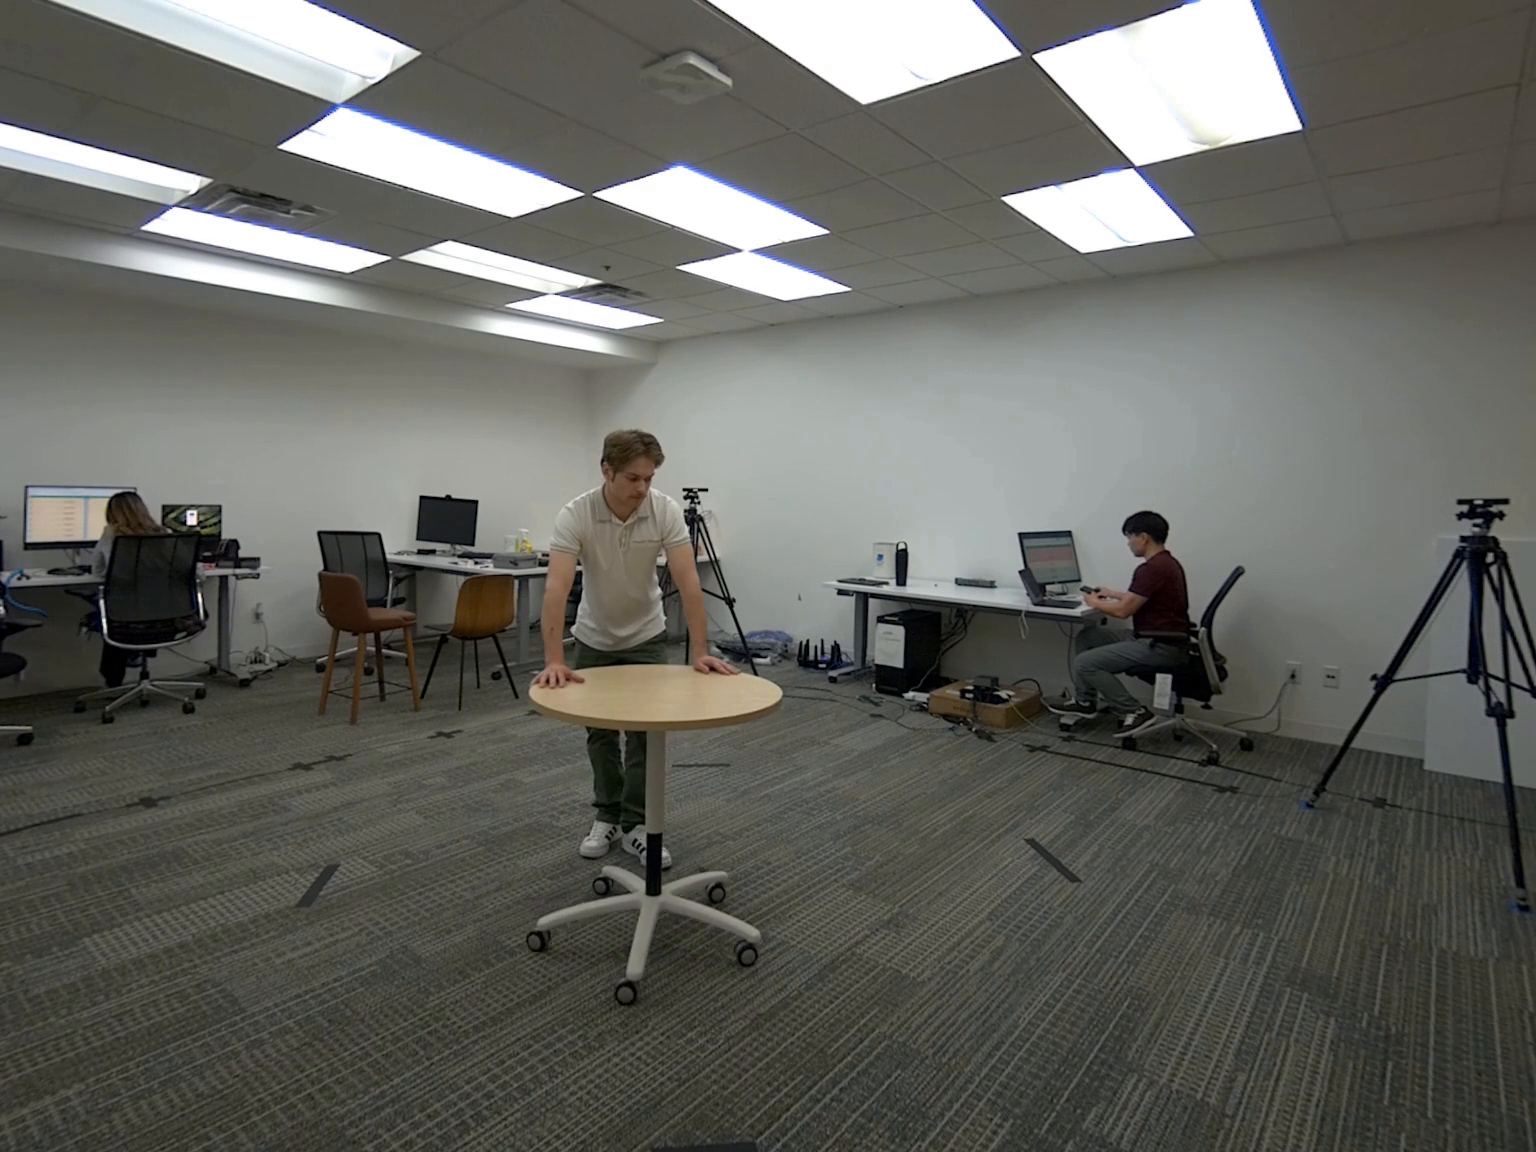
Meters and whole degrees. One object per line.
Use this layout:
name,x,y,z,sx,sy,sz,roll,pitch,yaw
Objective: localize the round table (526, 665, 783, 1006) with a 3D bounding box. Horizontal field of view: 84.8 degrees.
round table,-0.354,0.729,2.608,0.763,0.792,0.767,1,4,-2
